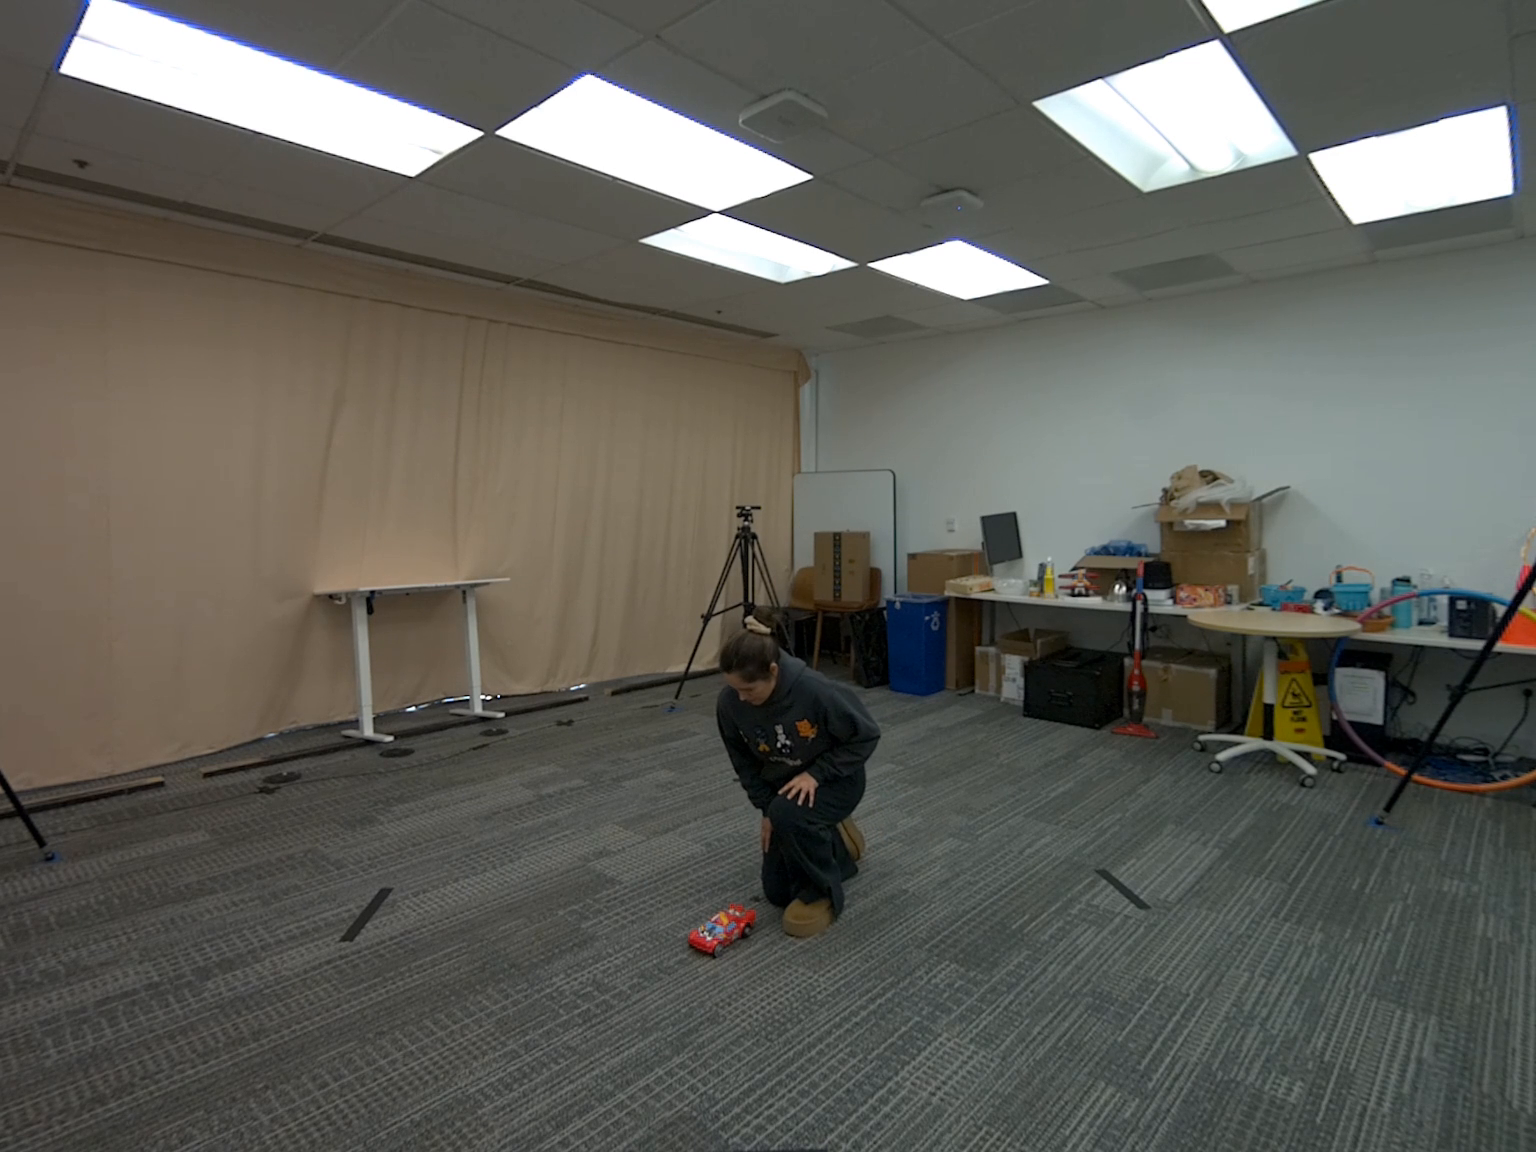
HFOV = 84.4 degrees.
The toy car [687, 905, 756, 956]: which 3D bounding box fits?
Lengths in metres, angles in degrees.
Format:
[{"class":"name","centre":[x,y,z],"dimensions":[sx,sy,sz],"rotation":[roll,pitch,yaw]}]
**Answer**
[{"class":"toy car","centre":[-0.123,1.136,2.707],"dimensions":[0.134,0.082,0.249],"rotation":[2,16,38]}]
